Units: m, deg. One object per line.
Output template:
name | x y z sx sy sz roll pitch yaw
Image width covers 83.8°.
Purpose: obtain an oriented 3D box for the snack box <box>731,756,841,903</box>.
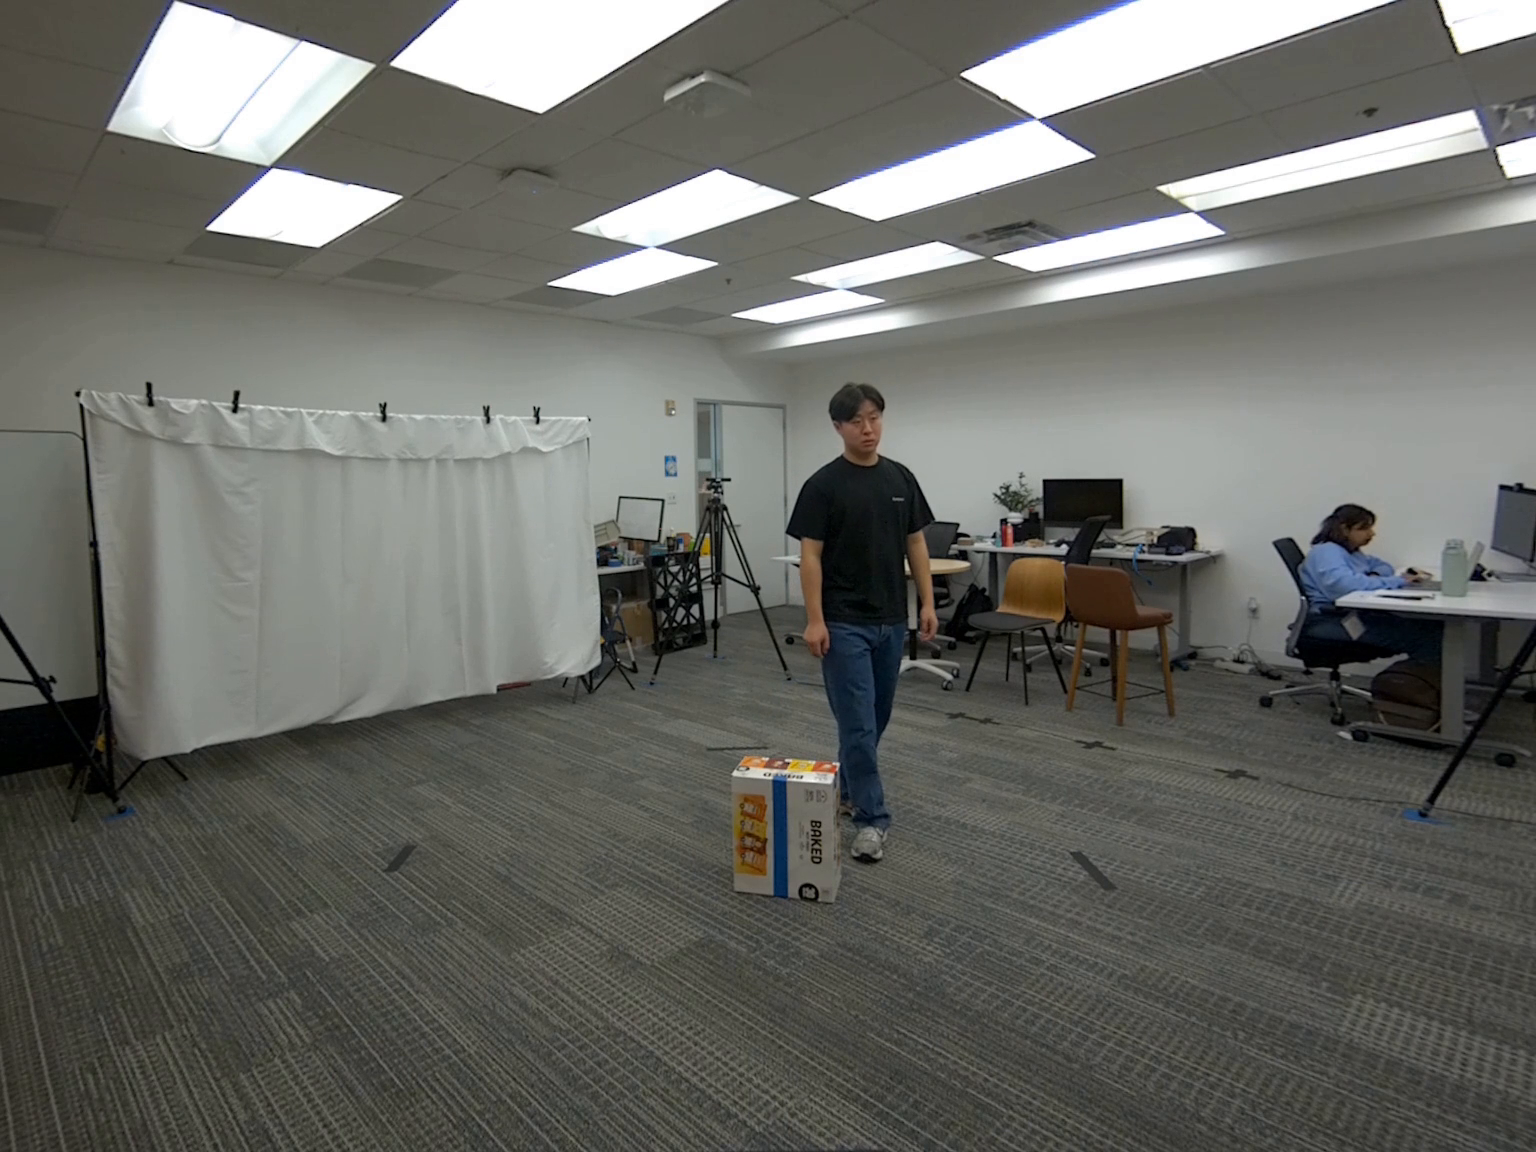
snack box | 0.072 0.856 2.926 0.345 0.403 0.203 0 5 15
